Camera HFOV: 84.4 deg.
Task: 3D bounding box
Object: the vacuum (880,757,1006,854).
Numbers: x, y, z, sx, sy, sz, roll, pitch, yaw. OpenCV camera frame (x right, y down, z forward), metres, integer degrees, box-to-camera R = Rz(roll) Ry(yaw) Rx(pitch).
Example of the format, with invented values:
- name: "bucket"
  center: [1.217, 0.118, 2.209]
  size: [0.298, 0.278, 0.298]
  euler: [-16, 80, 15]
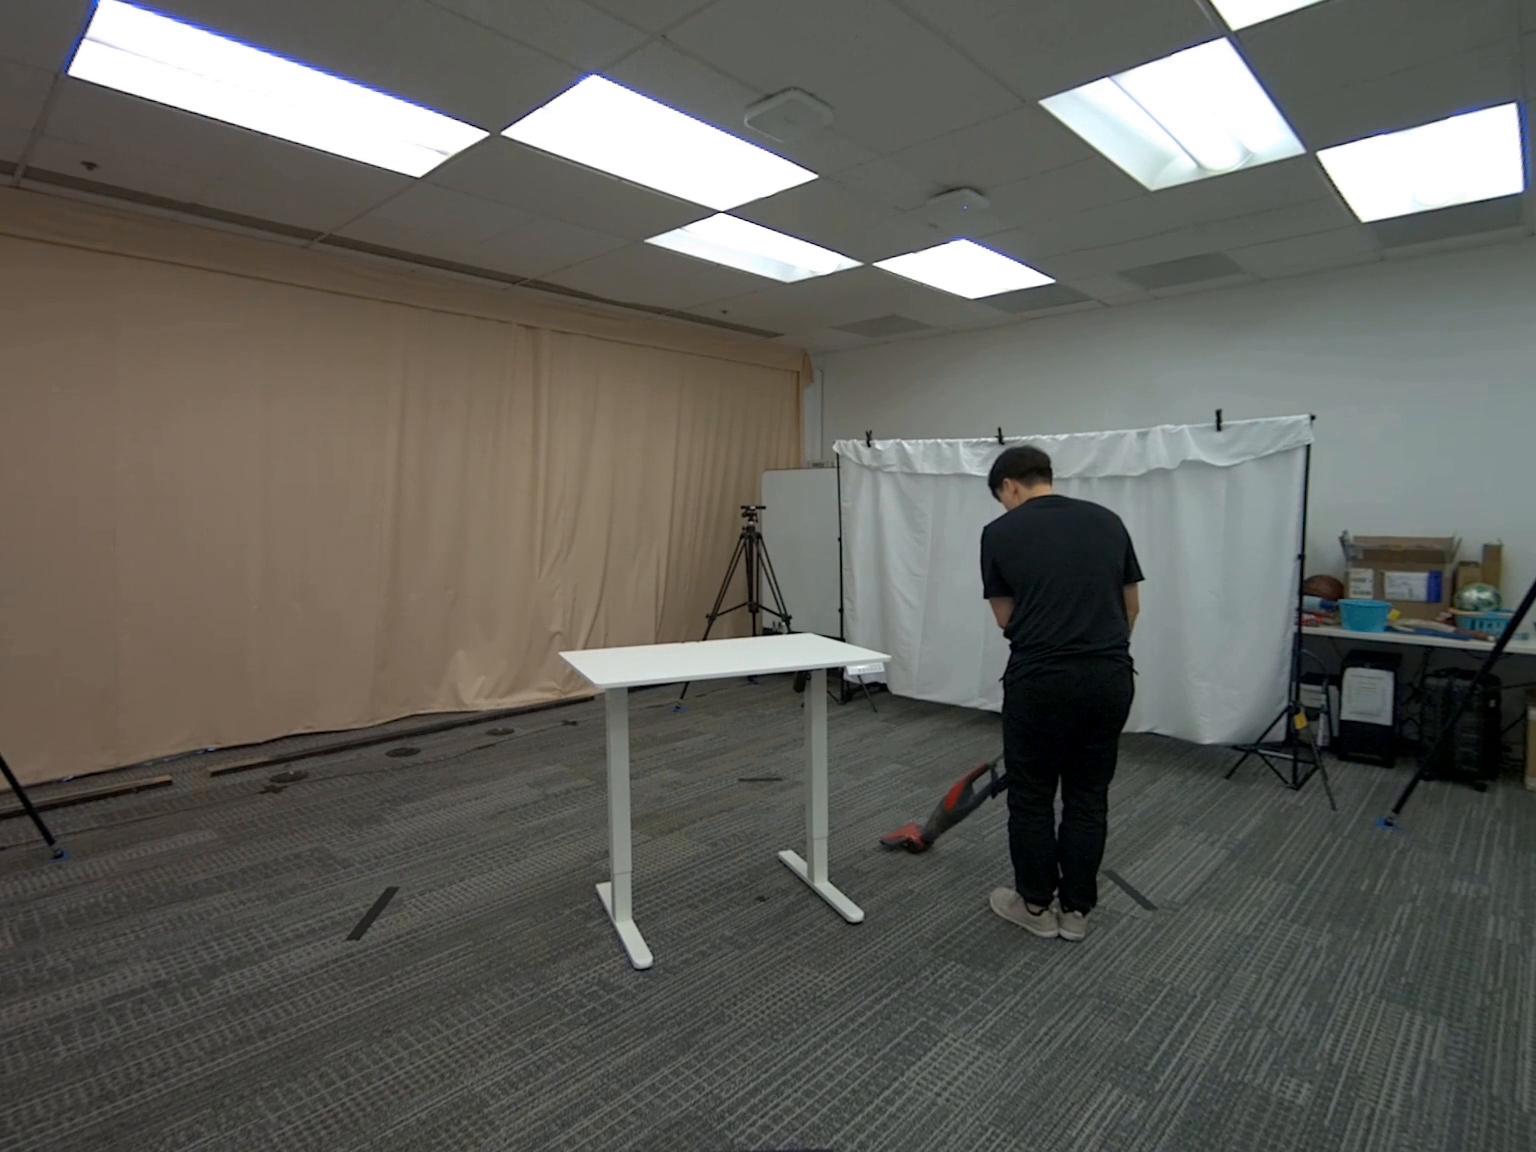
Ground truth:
- name: "vacuum"
  center: [0.860, 0.748, 3.180]
  size: [0.245, 0.147, 1.055]
  euler: [-9, -34, -51]
